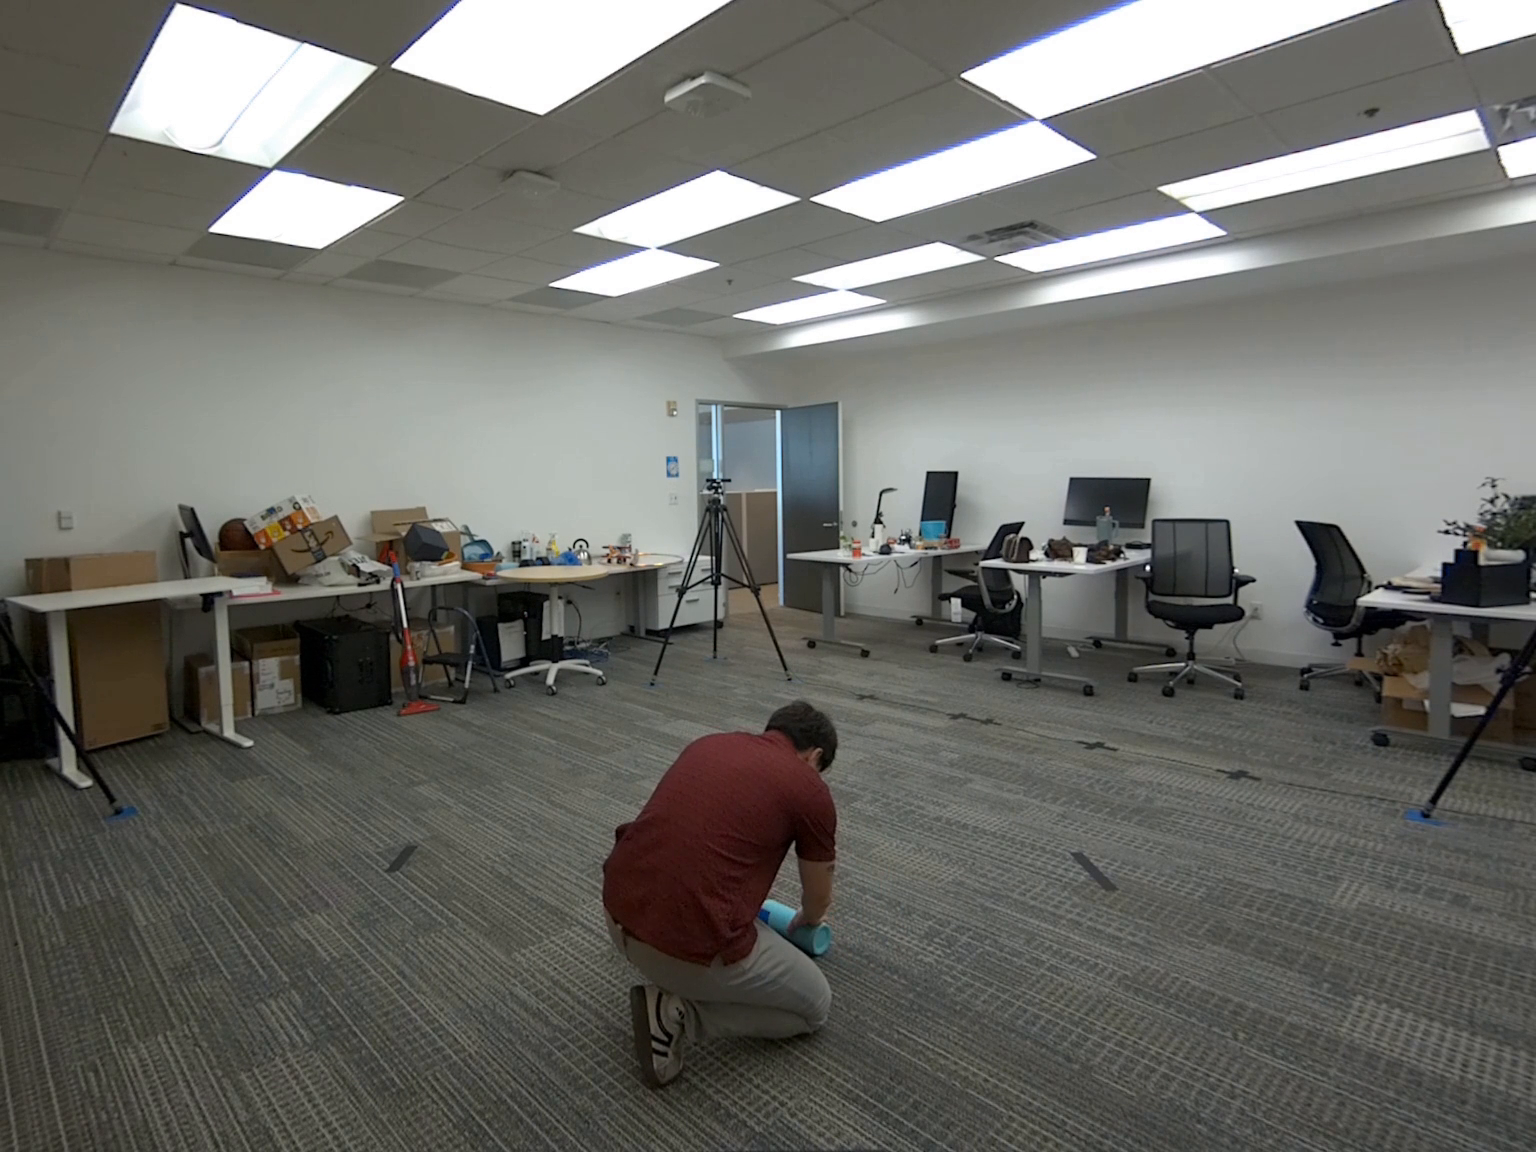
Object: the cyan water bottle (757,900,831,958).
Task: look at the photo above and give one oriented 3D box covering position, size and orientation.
[{"bbox_3d":[0.060,1.053,2.596,0.090,0.092,0.292,-6,8,-45],"label":"cyan water bottle"}]
